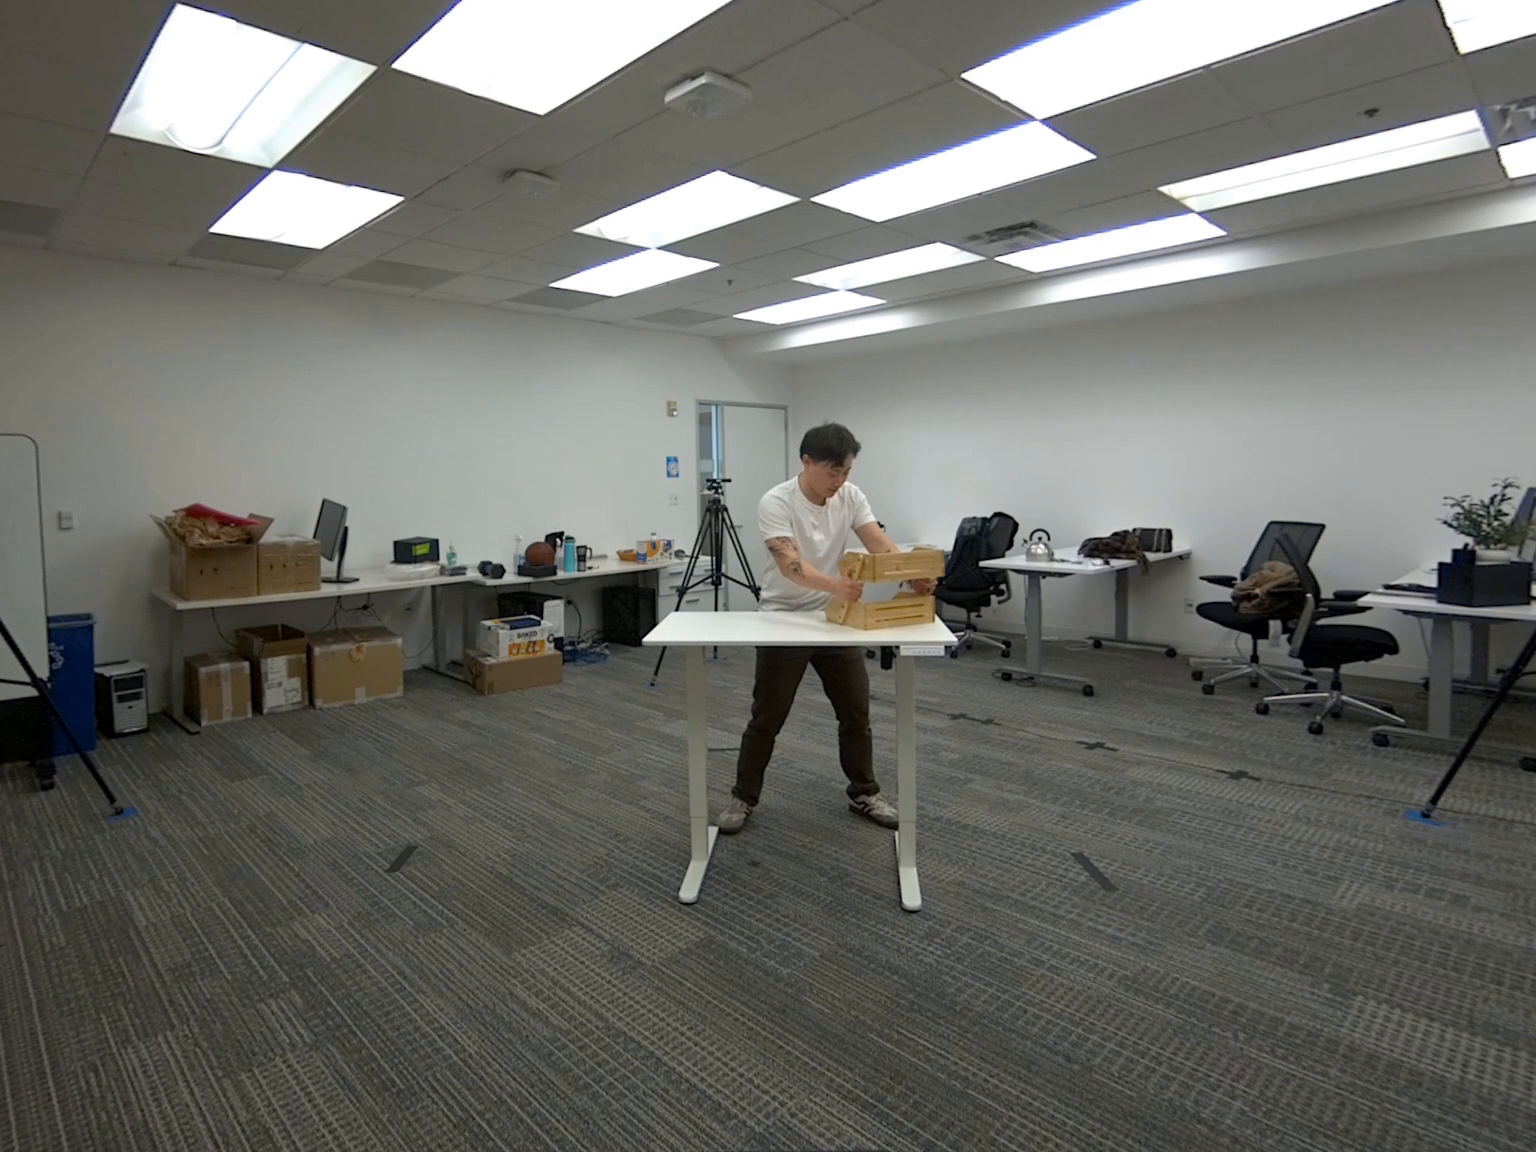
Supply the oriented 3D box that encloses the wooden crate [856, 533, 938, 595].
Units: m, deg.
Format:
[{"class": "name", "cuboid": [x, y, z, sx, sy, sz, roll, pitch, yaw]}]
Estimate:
[{"class": "wooden crate", "cuboid": [0.405, 0.034, 3.002, 0.317, 0.272, 0.310, -4, 7, -27]}]
